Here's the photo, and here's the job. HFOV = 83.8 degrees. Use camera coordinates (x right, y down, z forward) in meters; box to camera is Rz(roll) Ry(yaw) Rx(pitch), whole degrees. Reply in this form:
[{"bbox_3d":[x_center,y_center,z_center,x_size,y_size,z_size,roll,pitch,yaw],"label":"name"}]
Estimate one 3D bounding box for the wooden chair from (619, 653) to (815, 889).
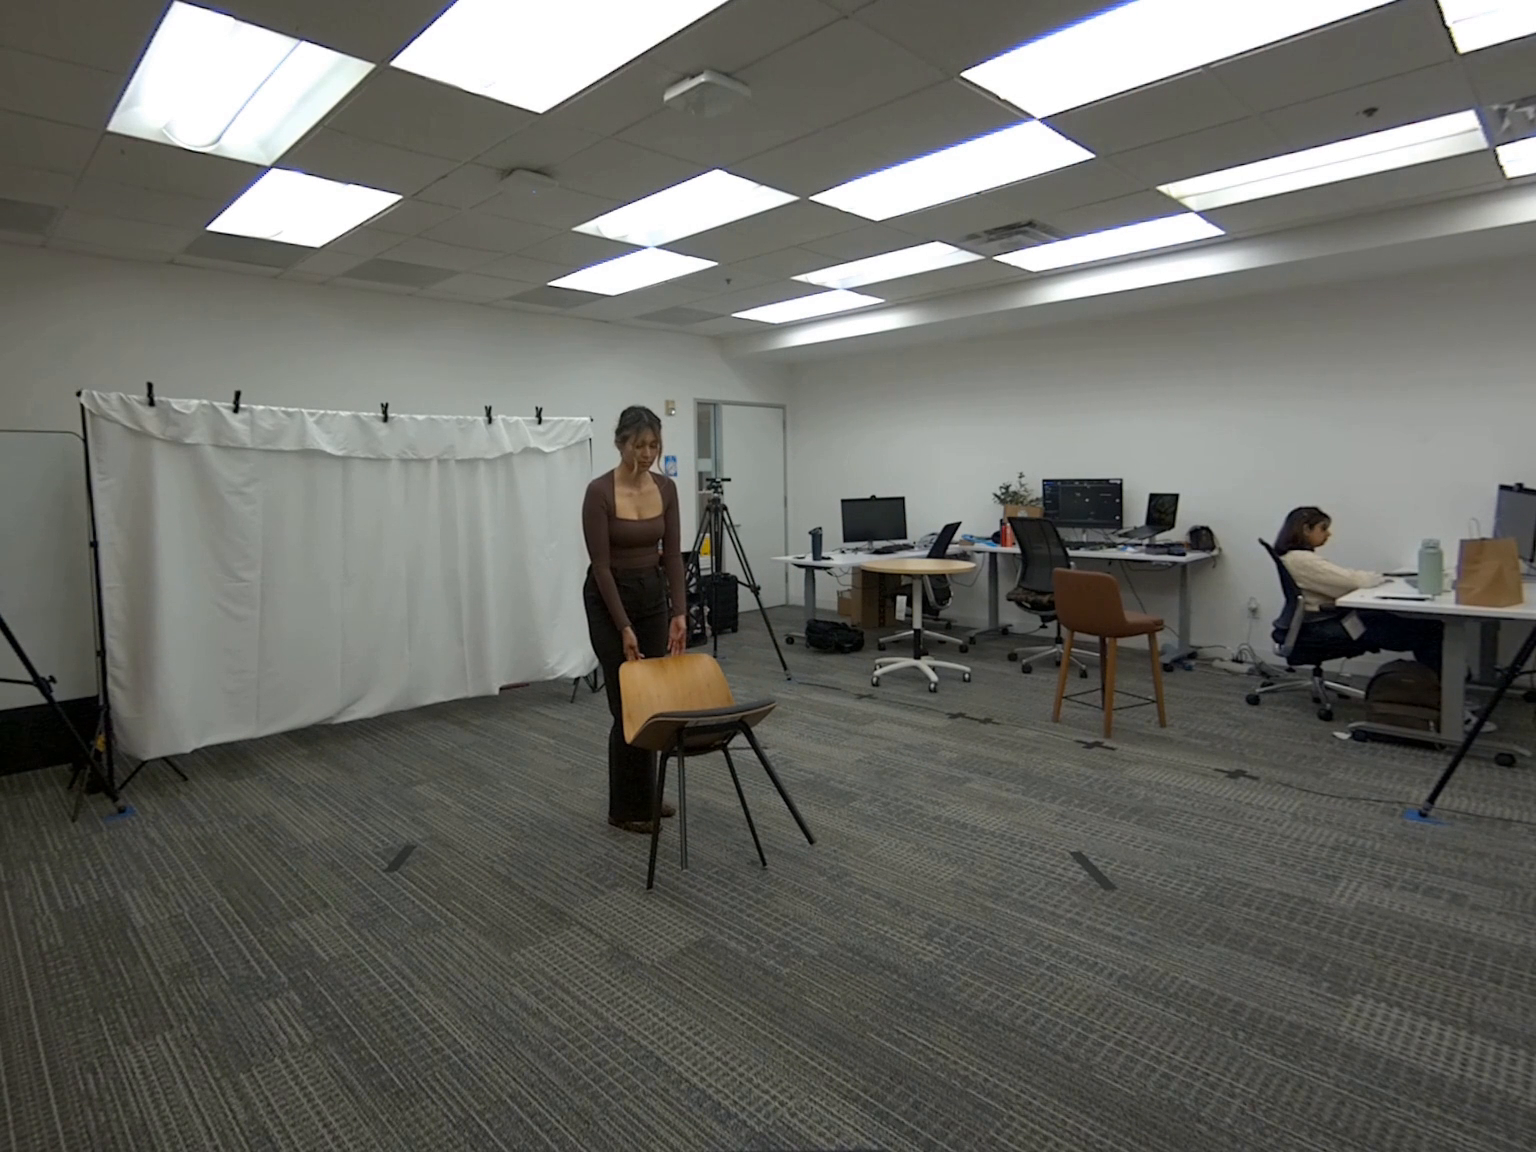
[{"bbox_3d":[-0.224,0.573,2.979,0.469,0.903,0.518,-3,-31,-23],"label":"wooden chair"}]
